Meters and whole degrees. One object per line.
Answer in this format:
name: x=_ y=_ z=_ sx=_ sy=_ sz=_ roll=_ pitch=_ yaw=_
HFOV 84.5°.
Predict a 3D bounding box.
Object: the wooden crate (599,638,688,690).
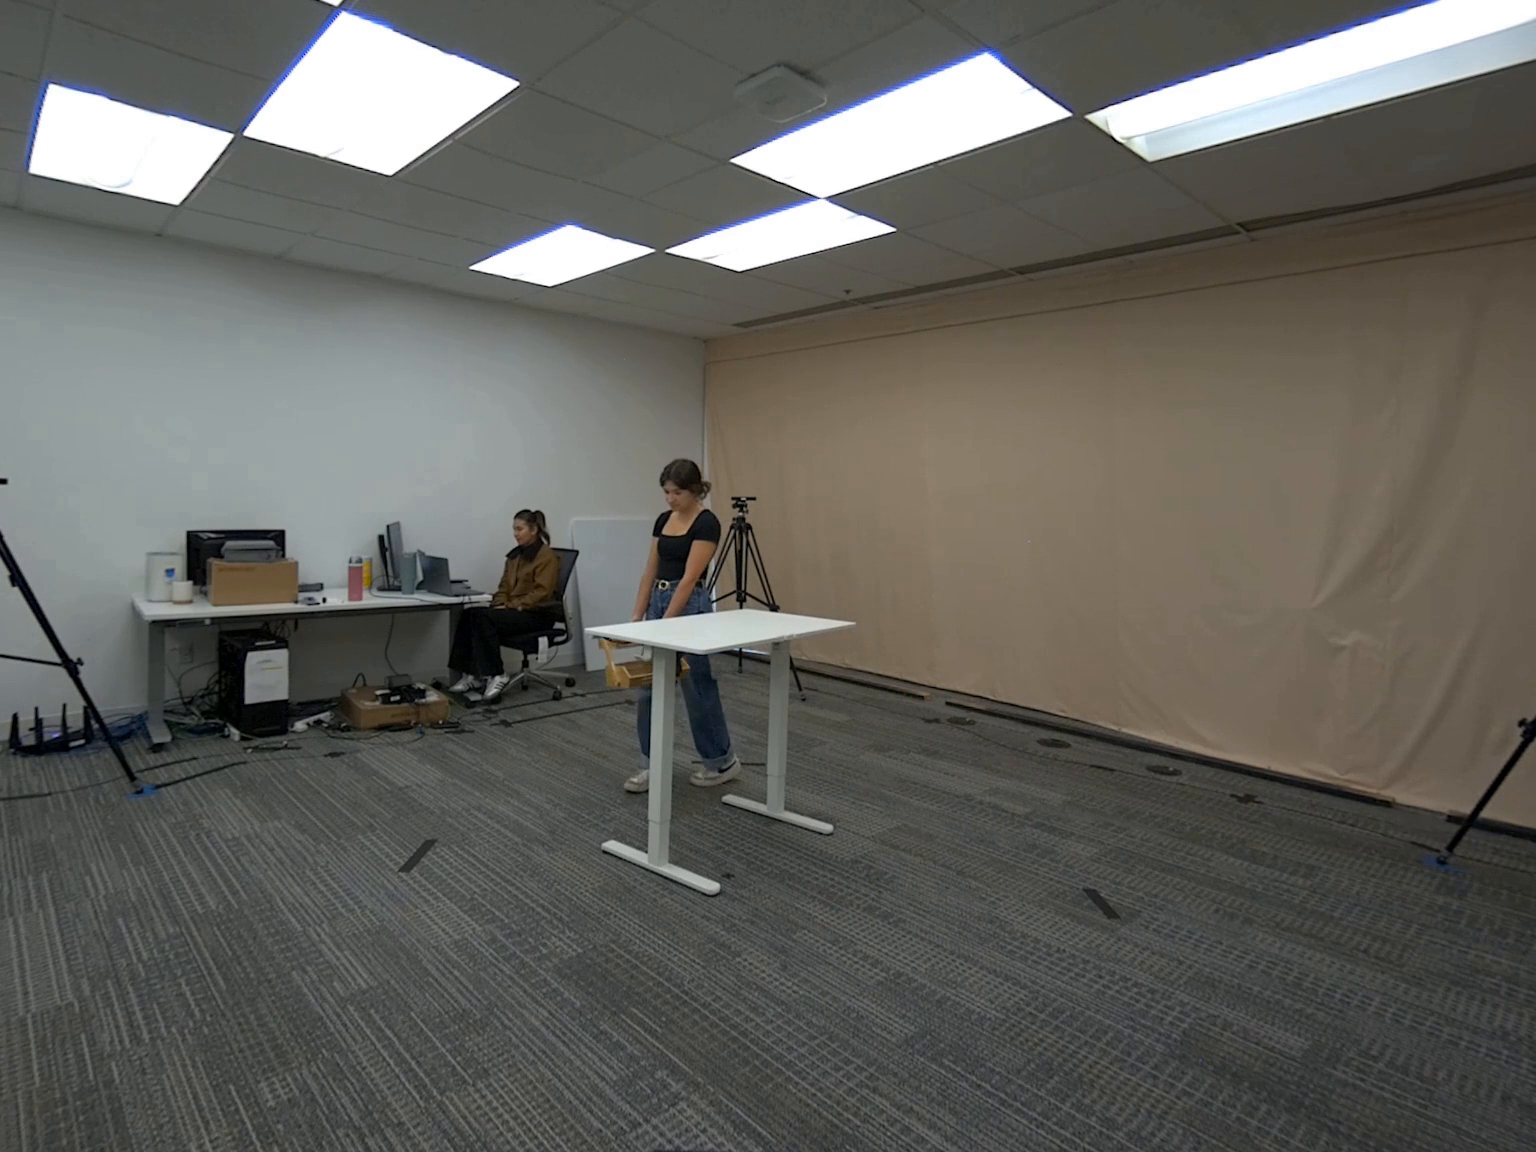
wooden crate: x=-0.588 y=0.350 z=3.834 sx=0.318 sy=0.274 sz=0.307 roll=-5 pitch=-4 yaw=-36
